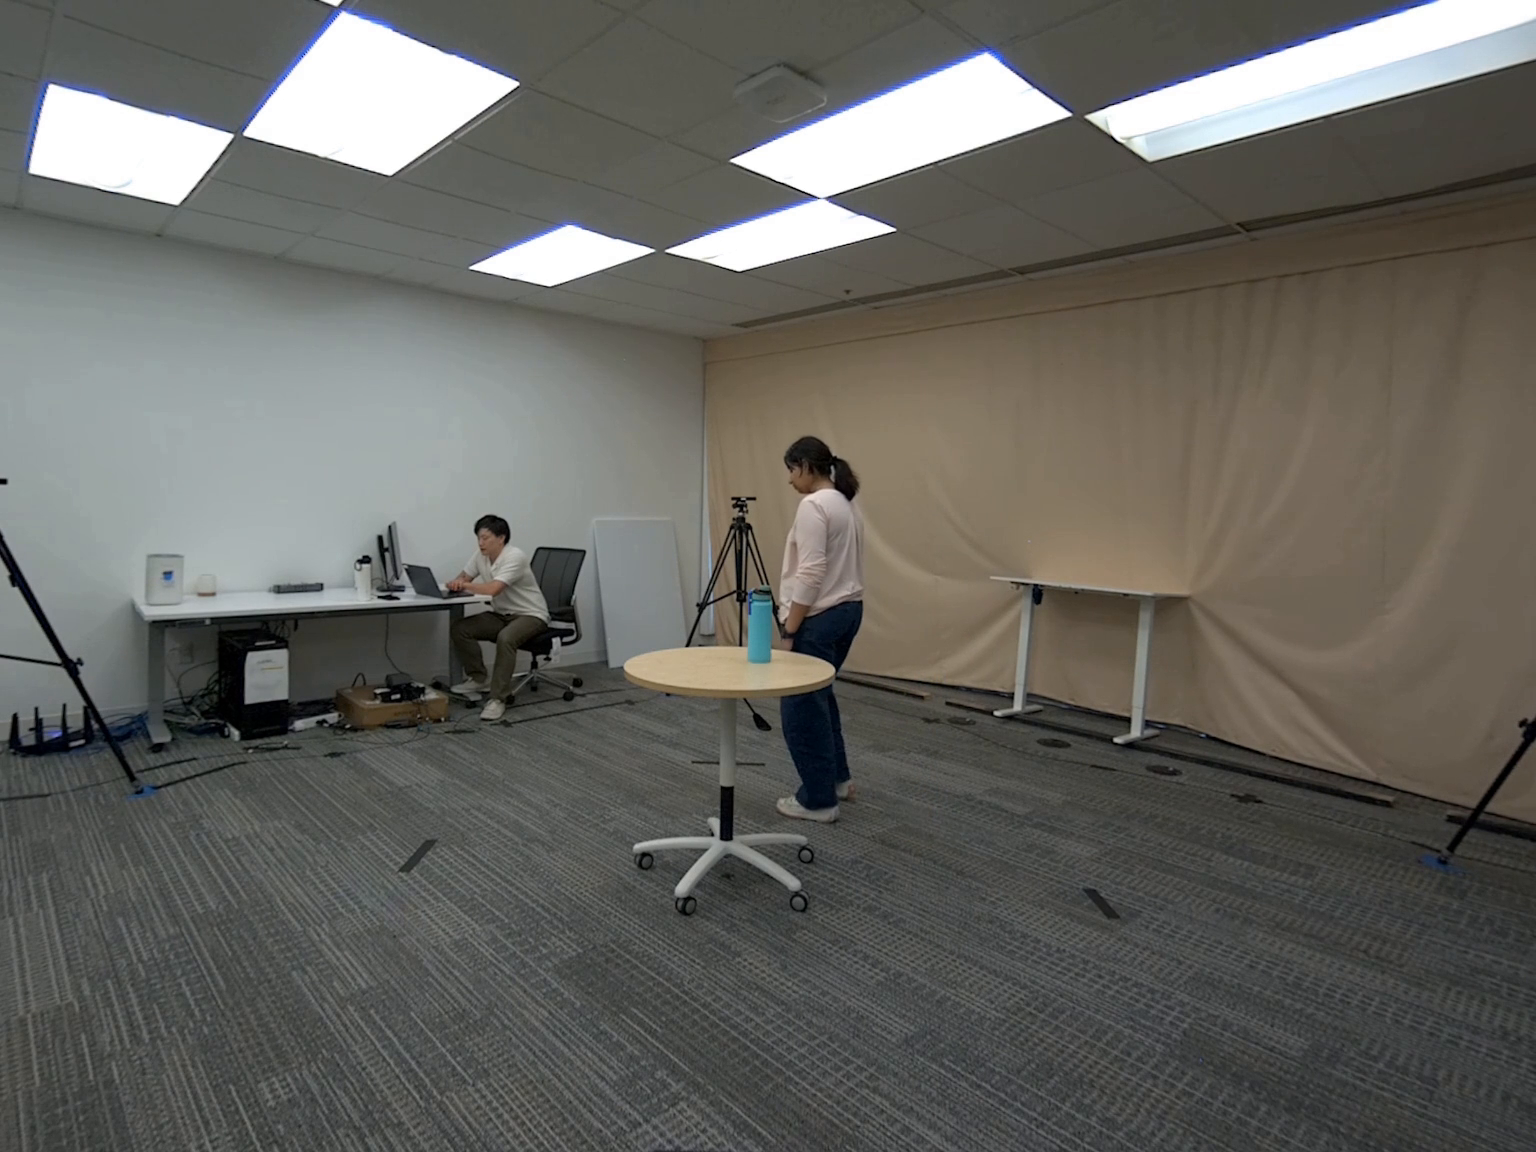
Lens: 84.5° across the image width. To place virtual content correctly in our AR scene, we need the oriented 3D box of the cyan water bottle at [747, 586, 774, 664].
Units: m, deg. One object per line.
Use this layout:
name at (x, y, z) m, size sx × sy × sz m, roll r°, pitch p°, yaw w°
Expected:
cyan water bottle at (-0.041, 0.181, 3.150) m, size 0.092 × 0.283 × 0.092 m, roll 0°, pitch 3°, yaw -1°
